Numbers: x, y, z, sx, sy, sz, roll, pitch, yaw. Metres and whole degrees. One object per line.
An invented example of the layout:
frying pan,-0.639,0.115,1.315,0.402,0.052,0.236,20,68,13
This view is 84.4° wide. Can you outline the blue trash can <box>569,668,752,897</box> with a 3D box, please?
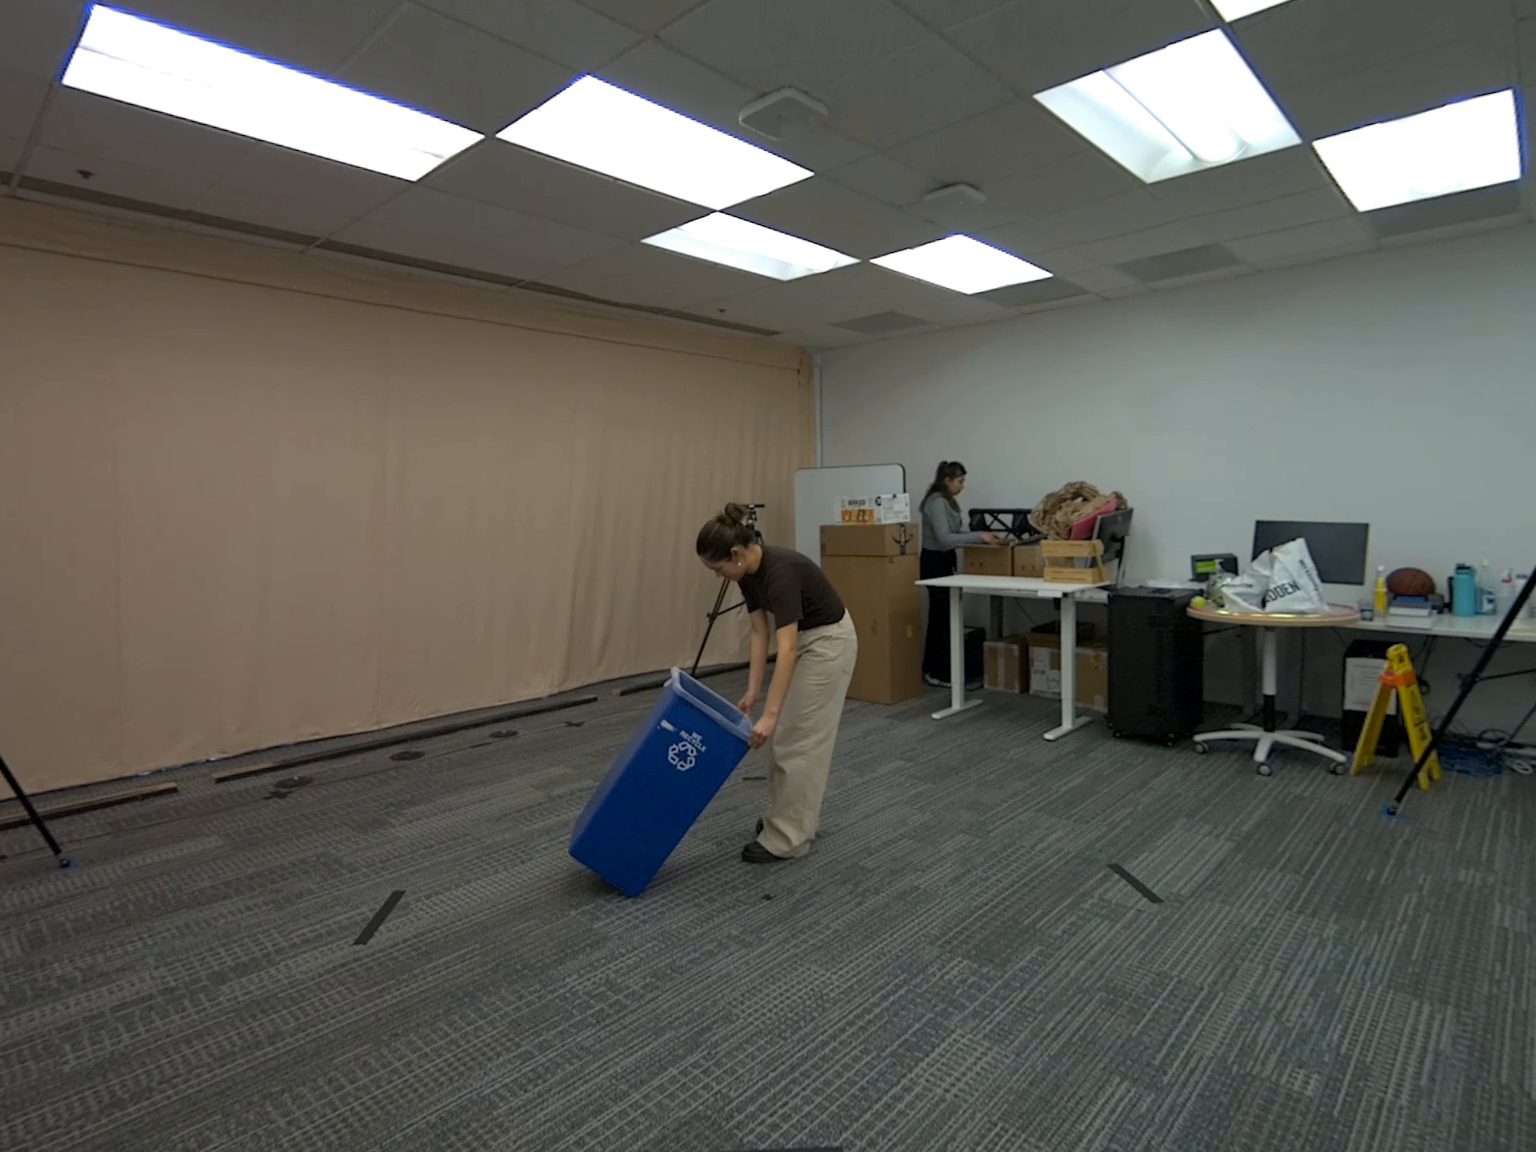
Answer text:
blue trash can,-0.402,0.766,3.130,0.370,0.713,0.382,34,1,-9
